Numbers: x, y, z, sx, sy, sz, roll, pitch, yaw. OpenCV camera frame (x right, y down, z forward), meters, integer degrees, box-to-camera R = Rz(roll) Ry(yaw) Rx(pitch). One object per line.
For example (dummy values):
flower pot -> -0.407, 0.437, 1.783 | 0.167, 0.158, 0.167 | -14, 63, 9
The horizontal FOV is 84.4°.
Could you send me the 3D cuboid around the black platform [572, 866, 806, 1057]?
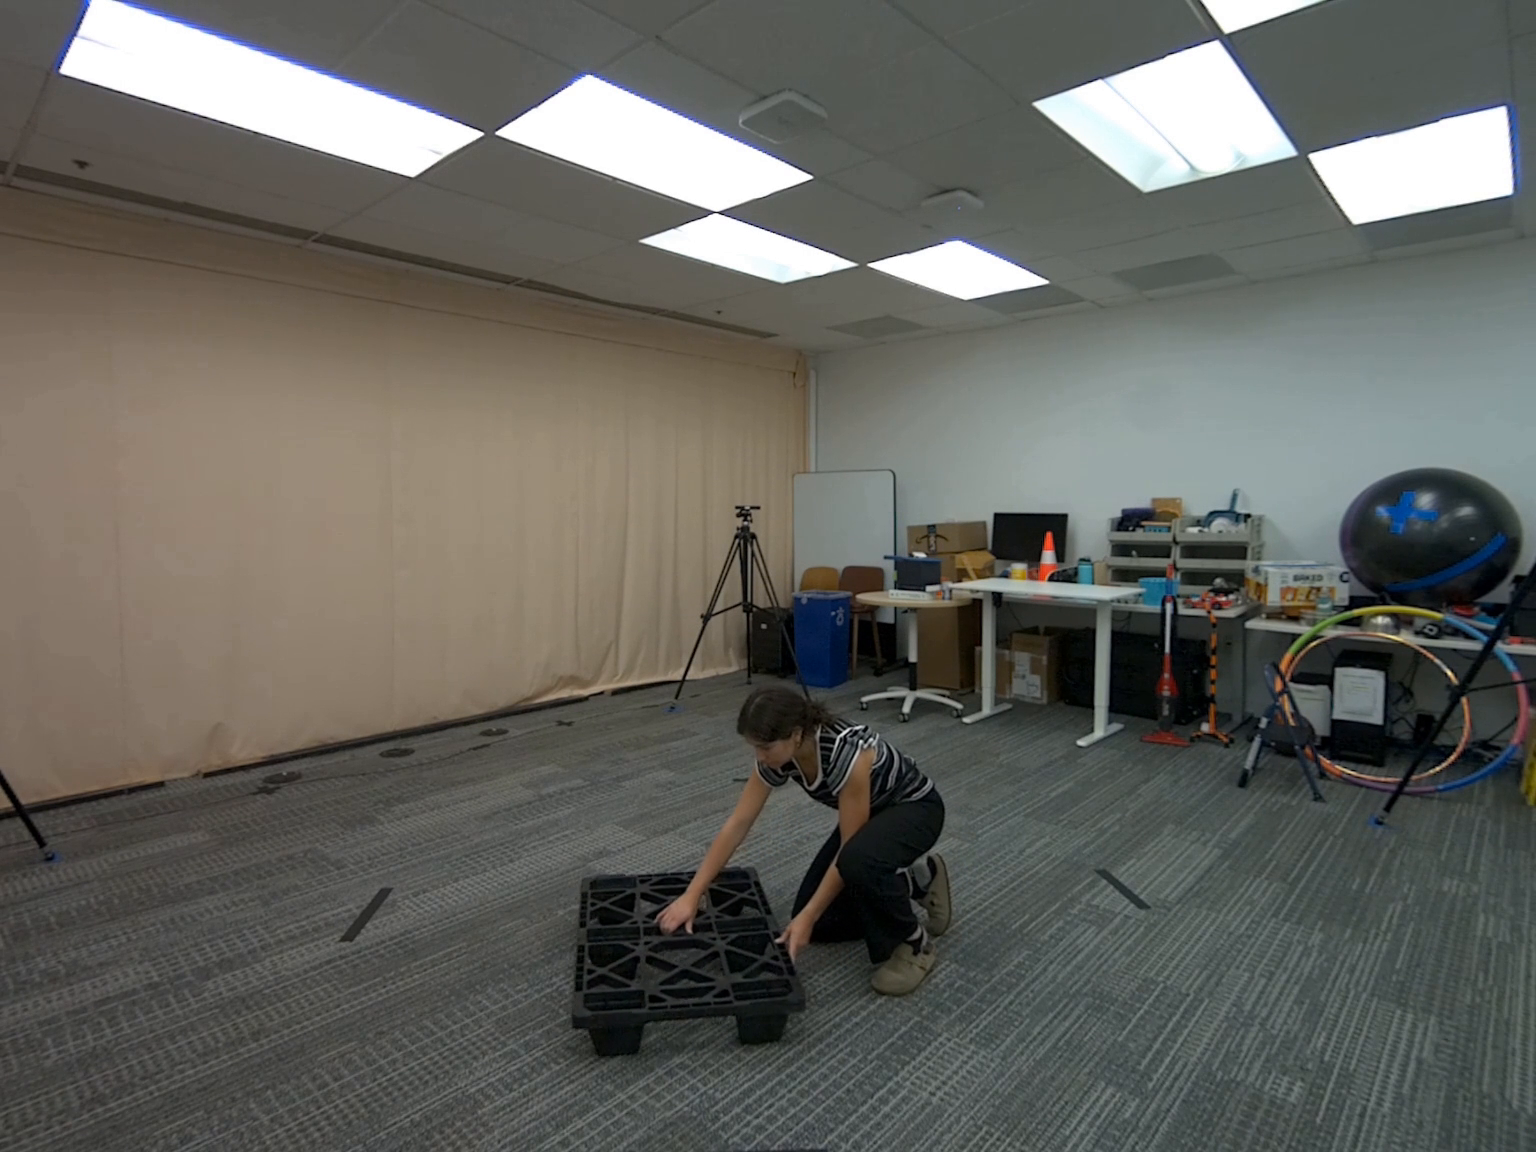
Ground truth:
black platform -> -0.266, 1.121, 2.511 | 0.600, 0.143, 0.814 | -2, 4, -9
